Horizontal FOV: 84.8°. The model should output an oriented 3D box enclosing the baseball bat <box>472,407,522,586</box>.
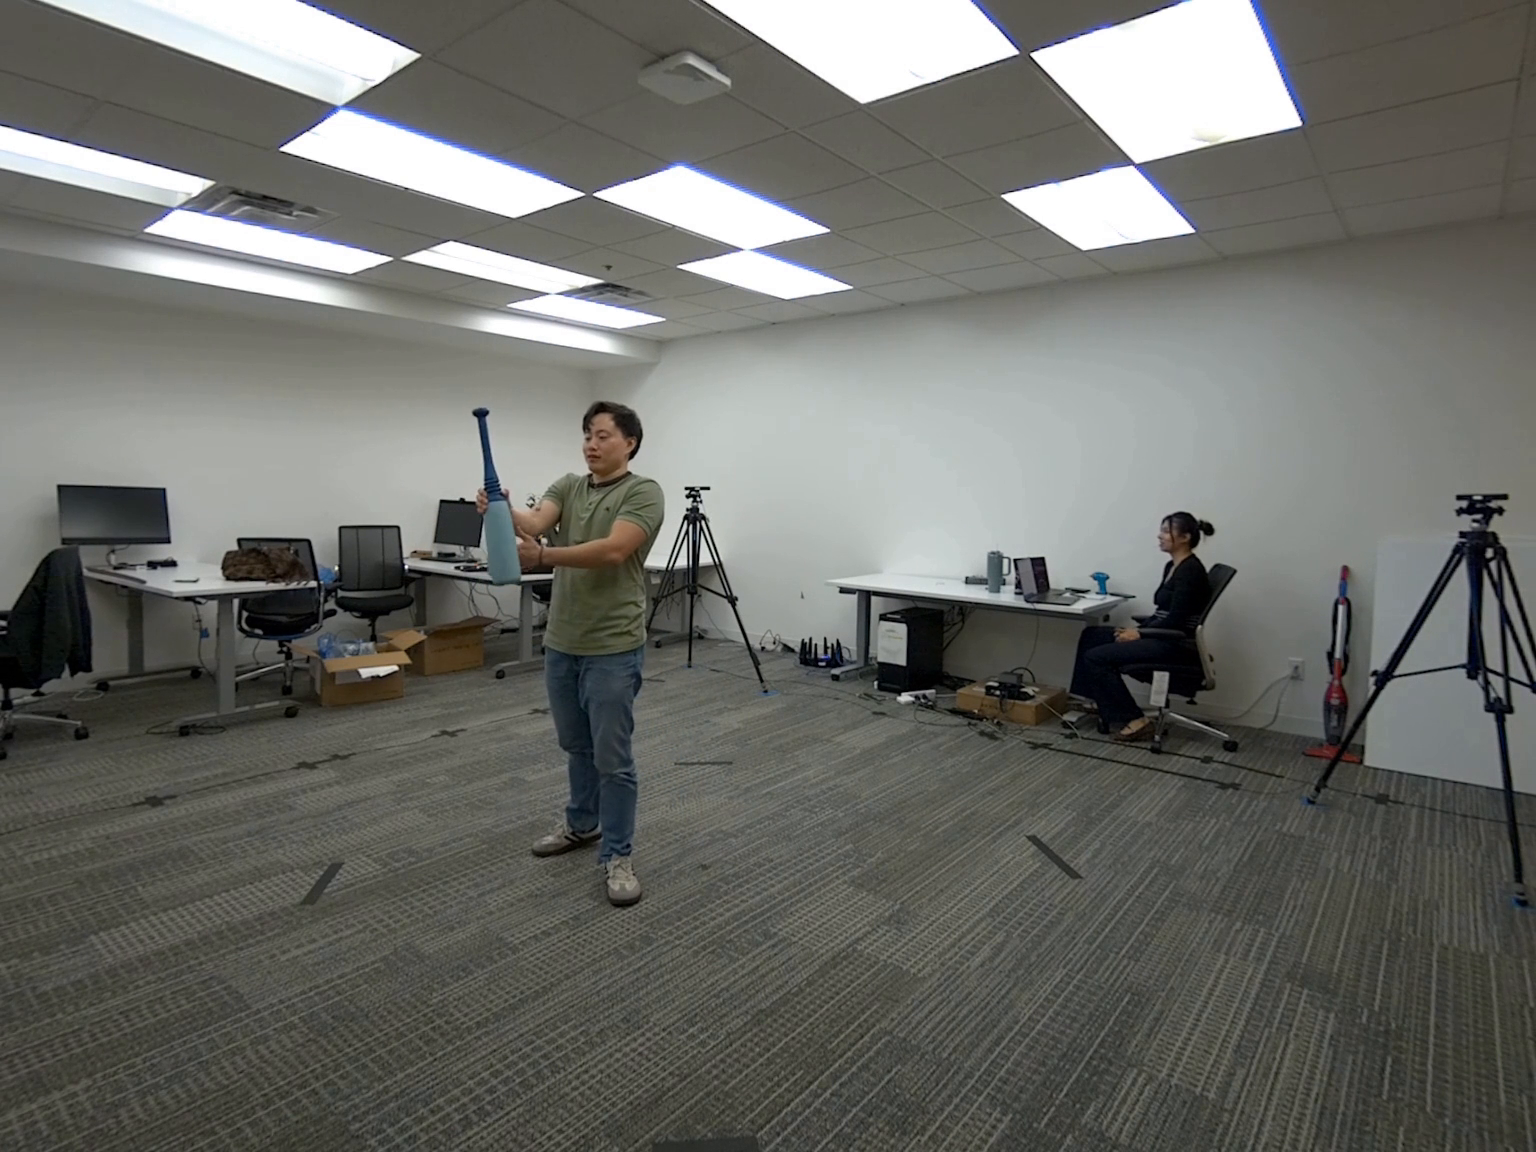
[{"bbox_3d":[-0.844,-0.247,2.579,0.089,0.544,0.089,-9,-1,-2],"label":"baseball bat"}]
